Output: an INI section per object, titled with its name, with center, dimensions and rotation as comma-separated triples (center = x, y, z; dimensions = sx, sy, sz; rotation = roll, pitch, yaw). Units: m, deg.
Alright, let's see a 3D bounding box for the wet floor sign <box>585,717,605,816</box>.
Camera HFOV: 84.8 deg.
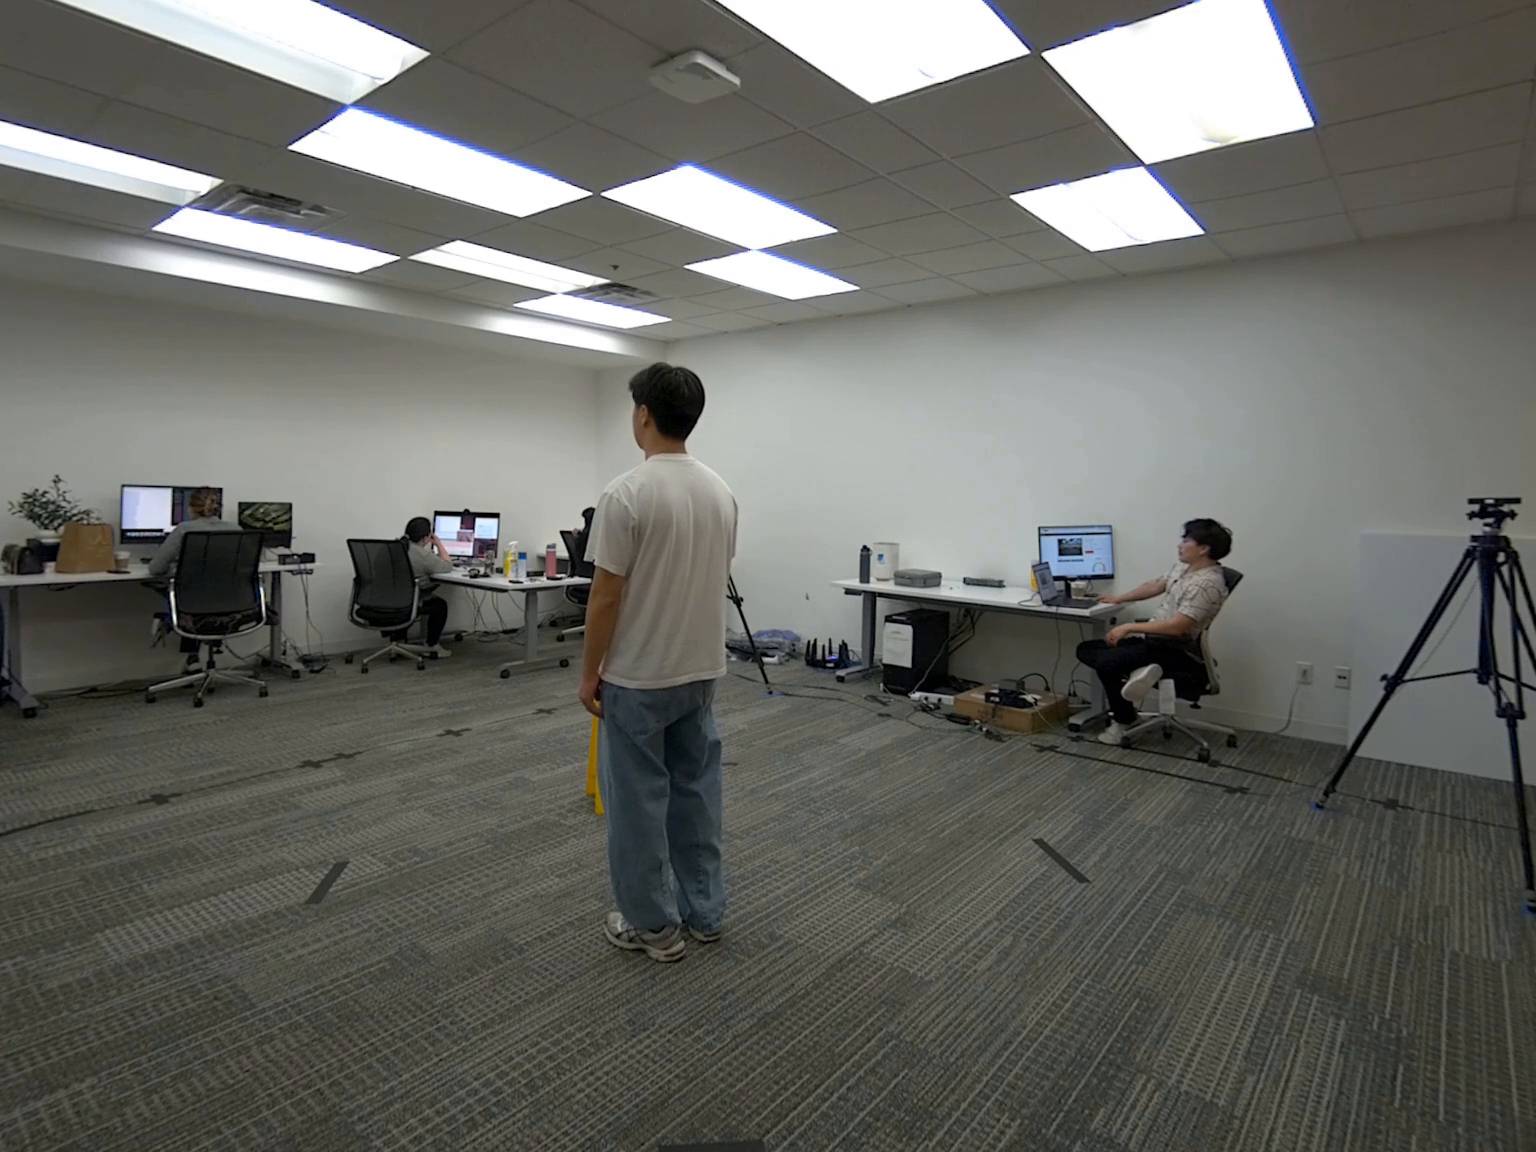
[wet floor sign]
center = -0.637, 0.675, 3.753
dimensions = 0.277, 0.644, 0.296
rotation = 0, 3, -19
